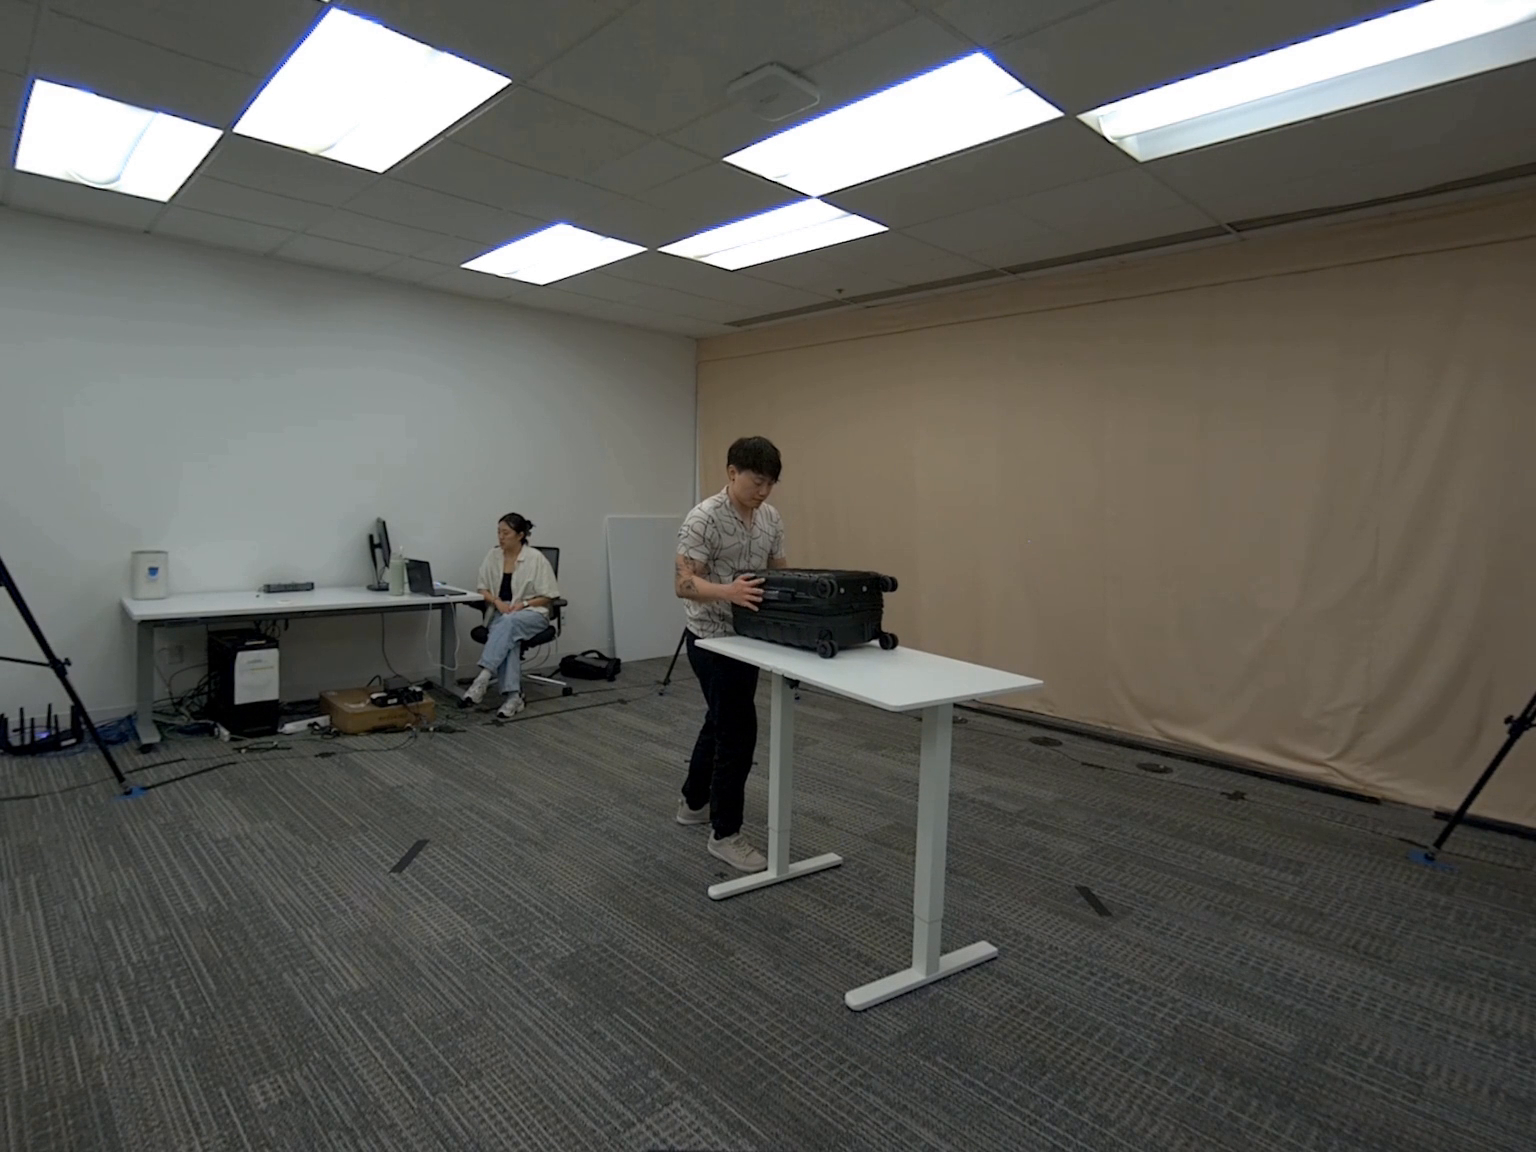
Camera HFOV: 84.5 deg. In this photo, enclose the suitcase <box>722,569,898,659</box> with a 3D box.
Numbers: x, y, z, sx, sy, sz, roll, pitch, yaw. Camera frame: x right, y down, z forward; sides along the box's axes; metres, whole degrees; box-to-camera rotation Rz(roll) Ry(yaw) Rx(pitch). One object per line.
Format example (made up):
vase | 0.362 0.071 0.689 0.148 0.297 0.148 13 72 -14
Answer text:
suitcase | 0.134 0.108 2.995 0.367 0.248 0.563 -2 4 -39
